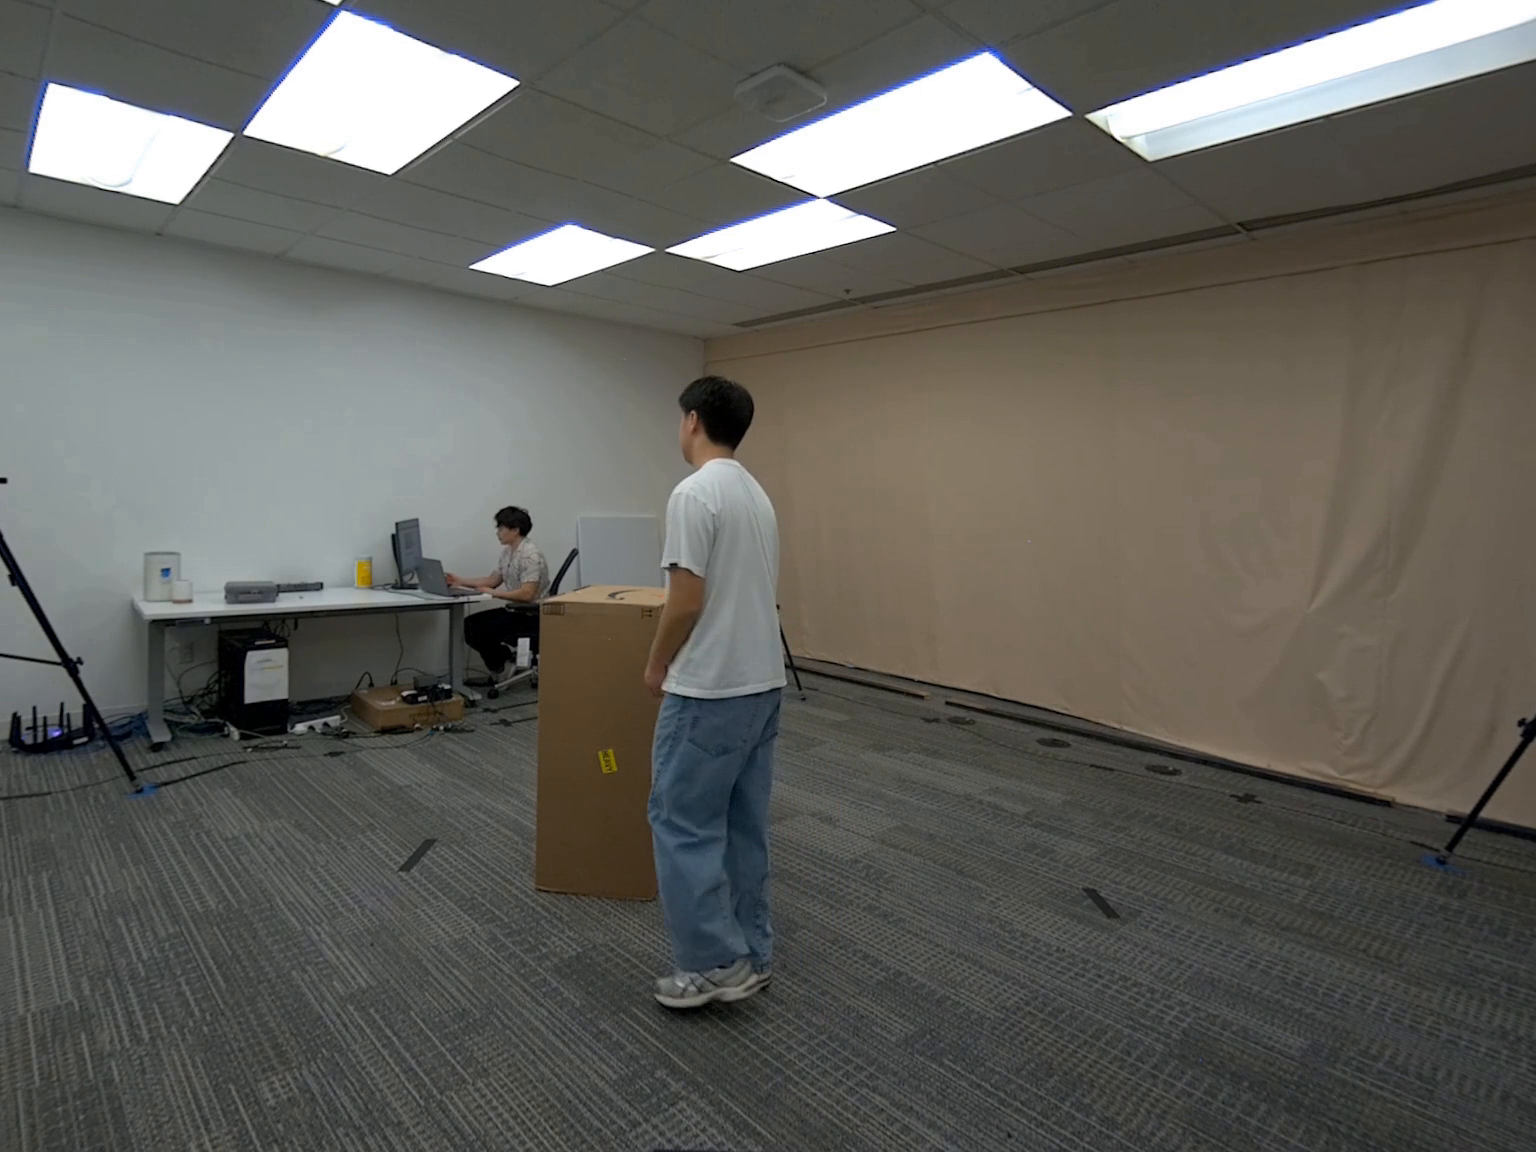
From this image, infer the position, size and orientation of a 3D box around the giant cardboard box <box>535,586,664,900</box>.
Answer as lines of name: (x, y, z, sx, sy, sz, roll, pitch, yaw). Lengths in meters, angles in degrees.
giant cardboard box: (-0.574, 0.580, 3.178, 0.429, 1.024, 0.575, 2, 3, 7)
